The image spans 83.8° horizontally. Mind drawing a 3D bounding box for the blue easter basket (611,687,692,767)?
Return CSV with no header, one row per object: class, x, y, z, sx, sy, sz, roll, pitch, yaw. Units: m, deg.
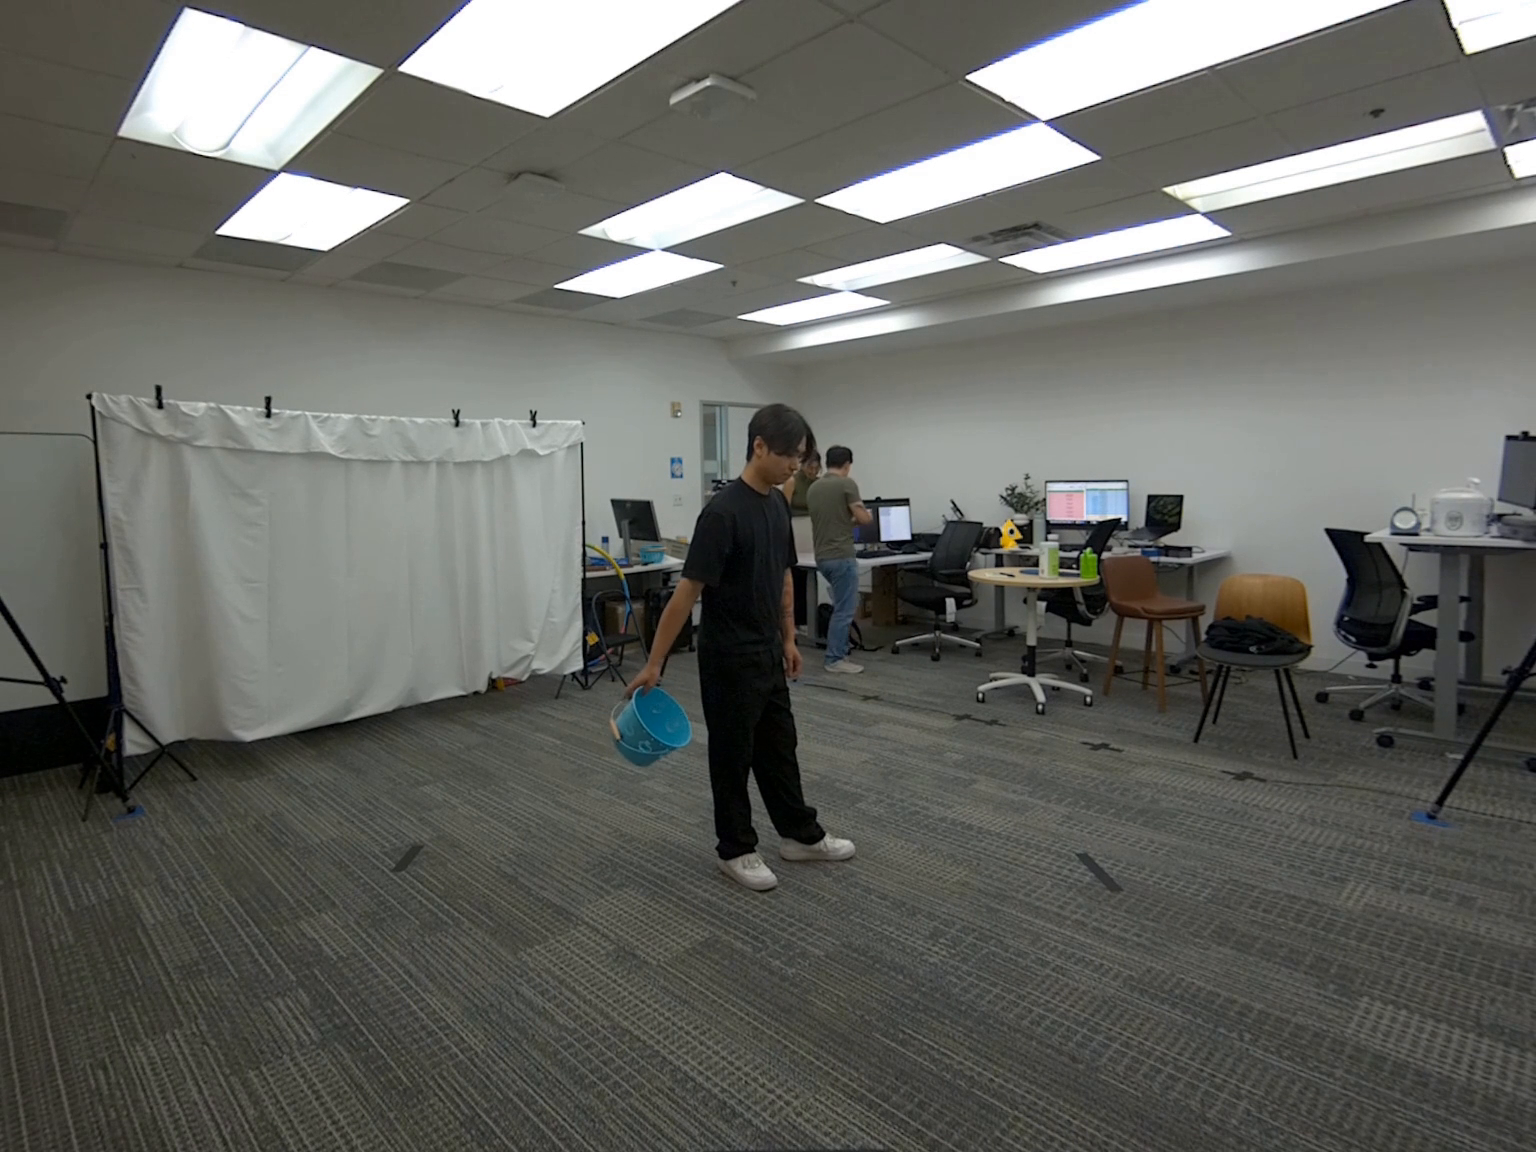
blue easter basket,-0.371,0.489,2.719,0.156,0.248,0.239,-44,-13,21
